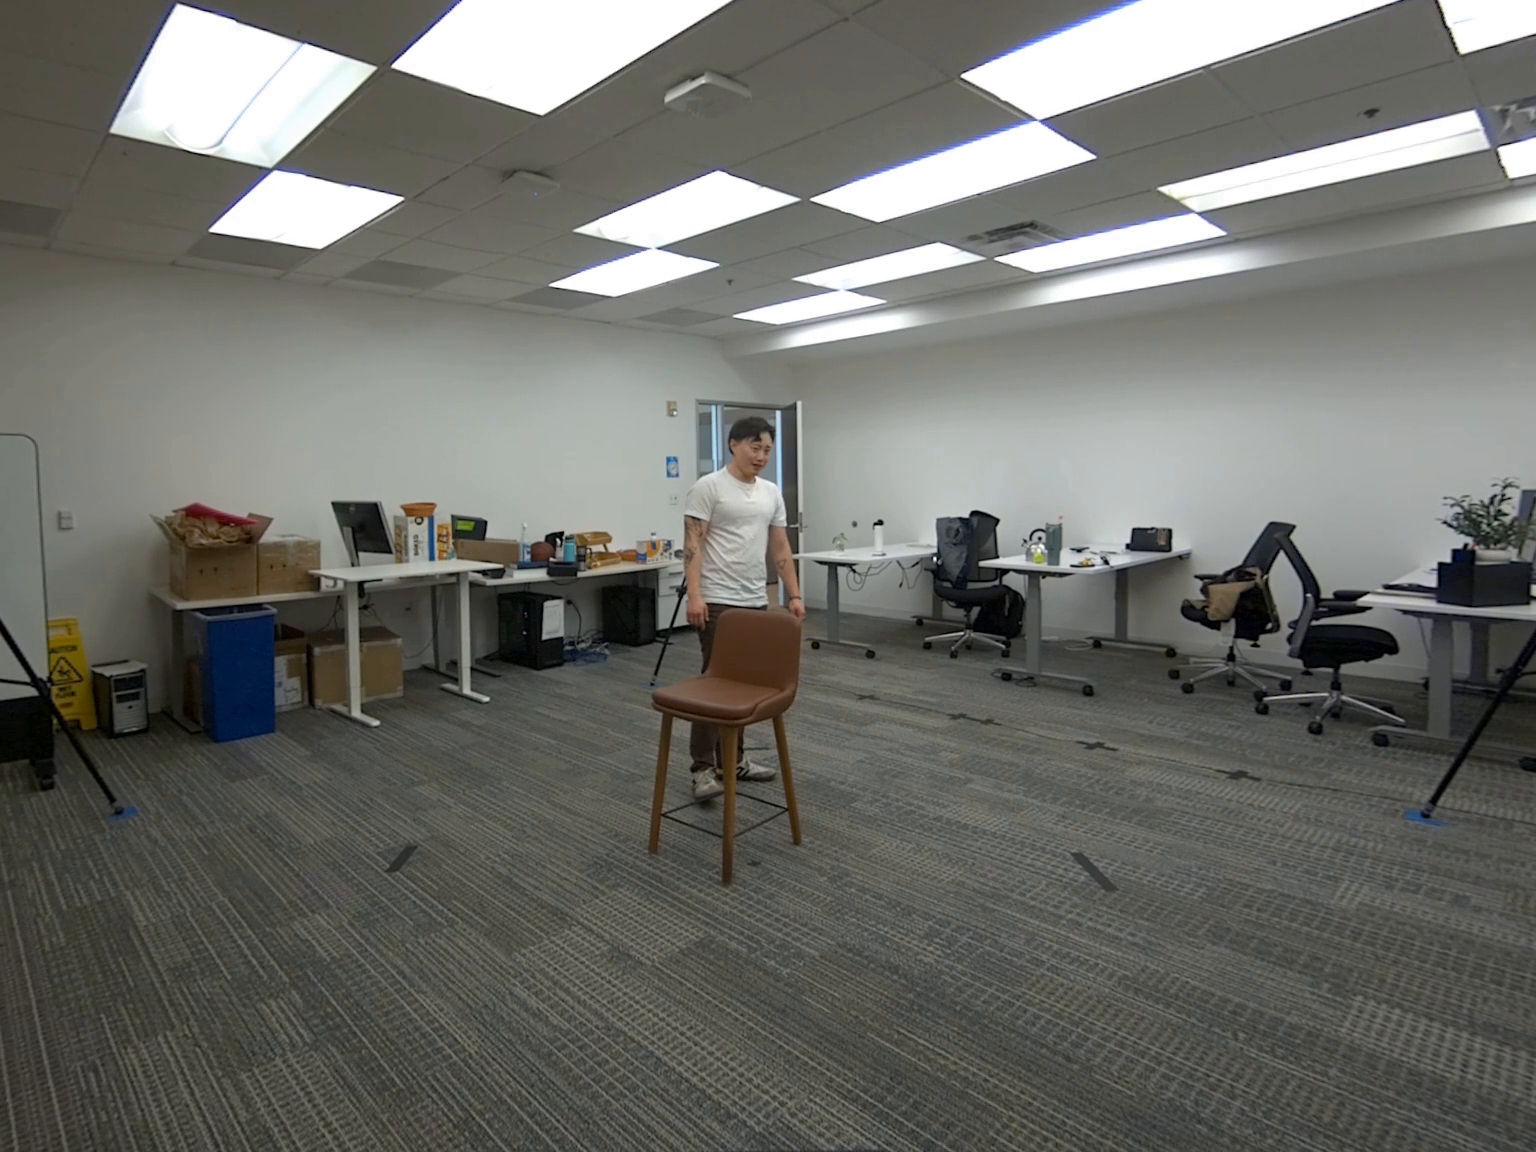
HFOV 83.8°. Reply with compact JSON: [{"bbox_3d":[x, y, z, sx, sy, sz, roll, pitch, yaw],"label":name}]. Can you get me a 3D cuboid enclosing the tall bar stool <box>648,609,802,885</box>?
[{"bbox_3d":[-0.155,0.599,3.219,0.470,0.888,0.454,3,3,41],"label":"tall bar stool"}]
